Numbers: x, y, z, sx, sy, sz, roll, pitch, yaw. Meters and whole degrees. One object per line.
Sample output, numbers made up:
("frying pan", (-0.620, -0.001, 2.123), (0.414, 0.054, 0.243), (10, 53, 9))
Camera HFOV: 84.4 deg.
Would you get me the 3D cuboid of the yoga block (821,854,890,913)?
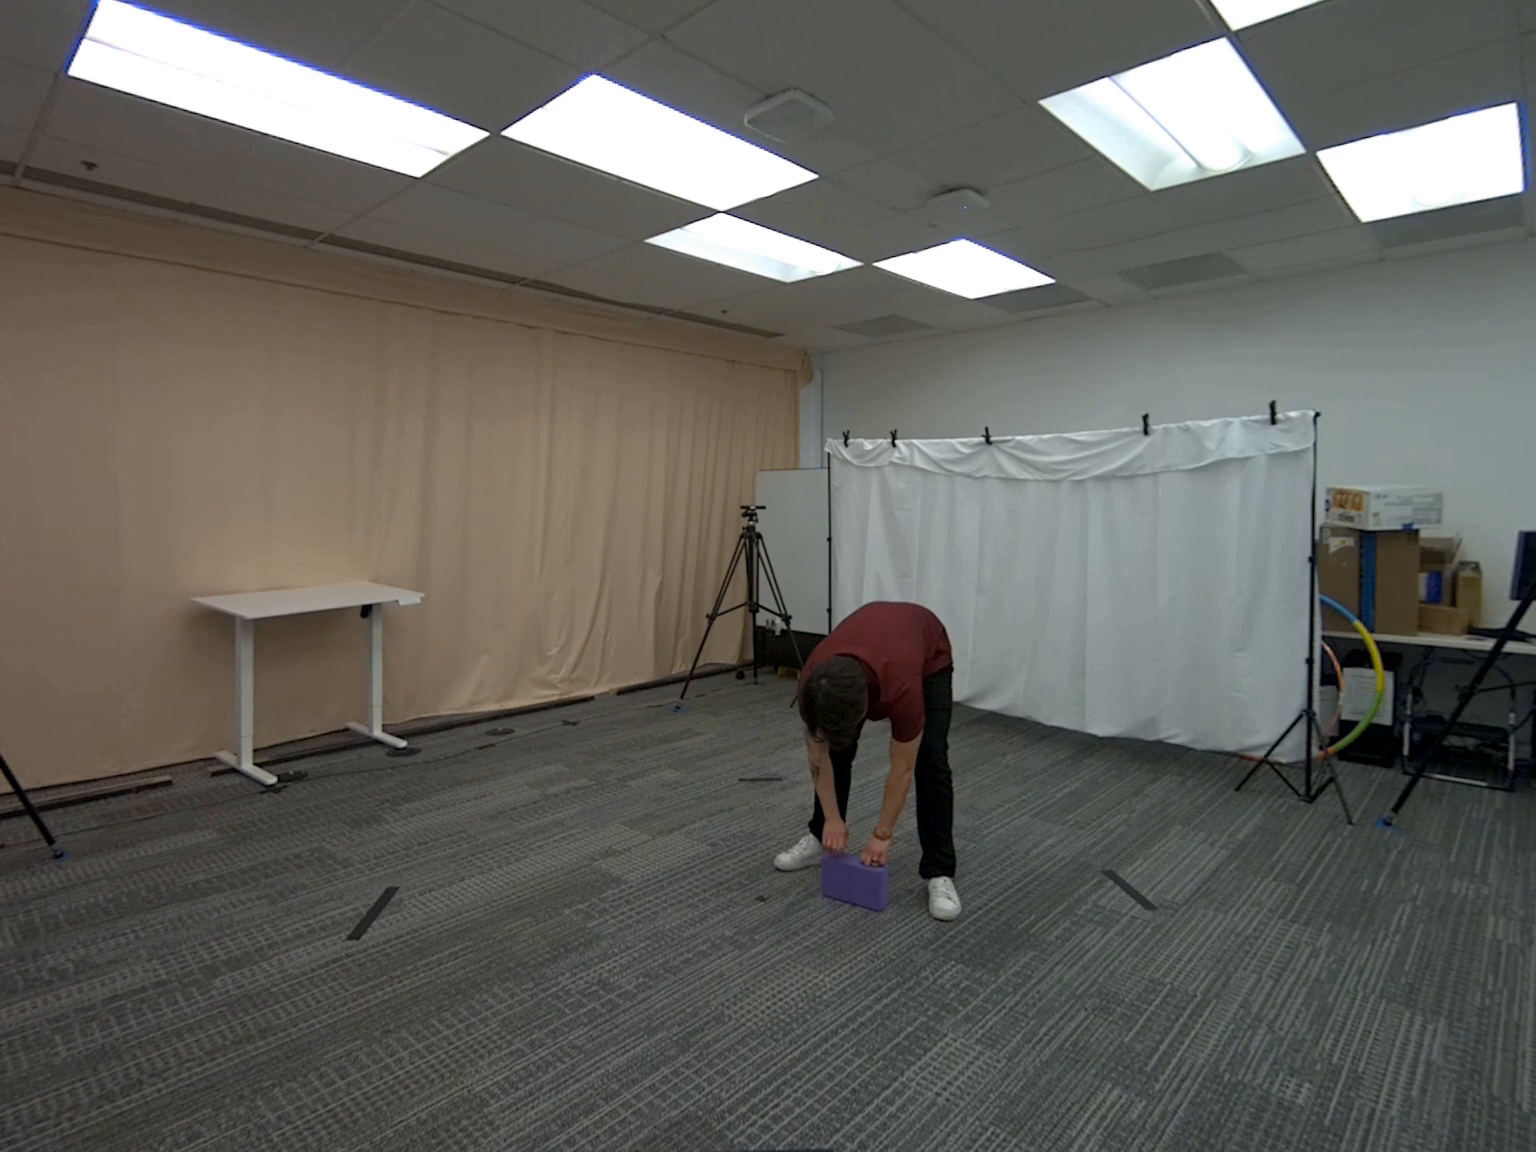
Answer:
("yoga block", (0.309, 1.066, 2.970), (0.236, 0.149, 0.074), (4, 4, 32))
